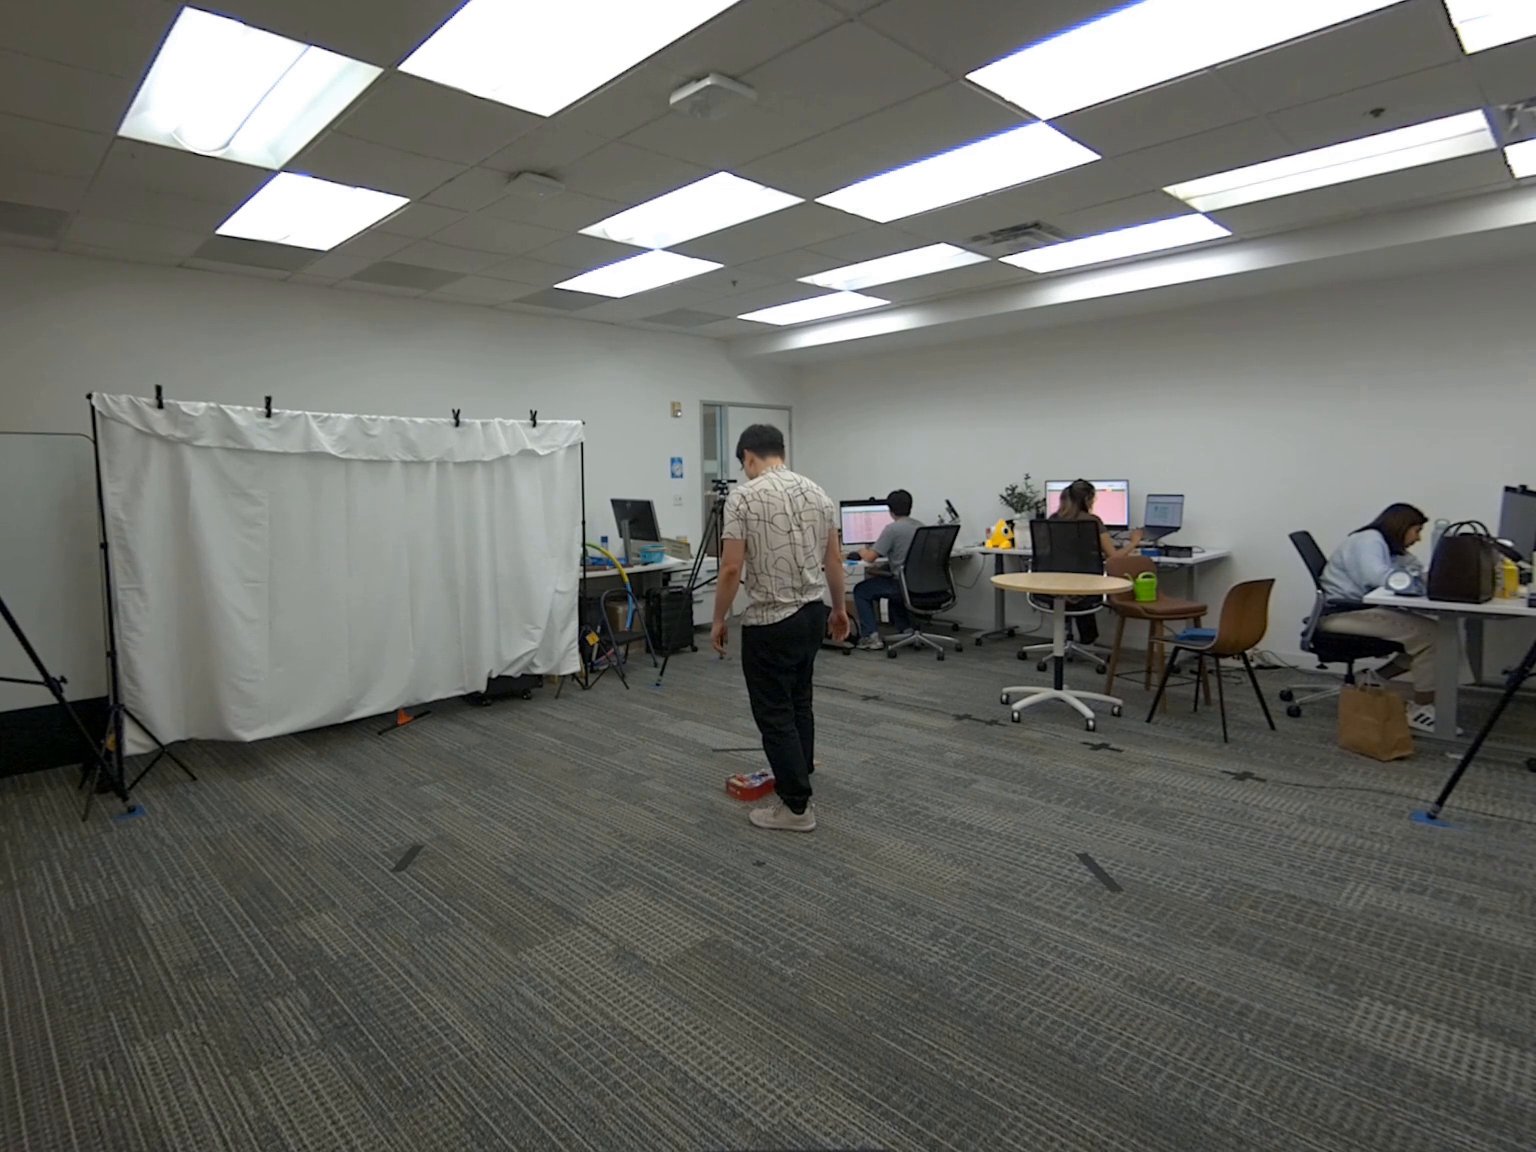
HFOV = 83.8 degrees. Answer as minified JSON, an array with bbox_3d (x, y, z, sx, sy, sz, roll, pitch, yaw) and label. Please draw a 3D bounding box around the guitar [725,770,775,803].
[{"bbox_3d":[0.053,0.925,3.891,0.487,0.070,0.198,-5,6,-25],"label":"guitar"}]
